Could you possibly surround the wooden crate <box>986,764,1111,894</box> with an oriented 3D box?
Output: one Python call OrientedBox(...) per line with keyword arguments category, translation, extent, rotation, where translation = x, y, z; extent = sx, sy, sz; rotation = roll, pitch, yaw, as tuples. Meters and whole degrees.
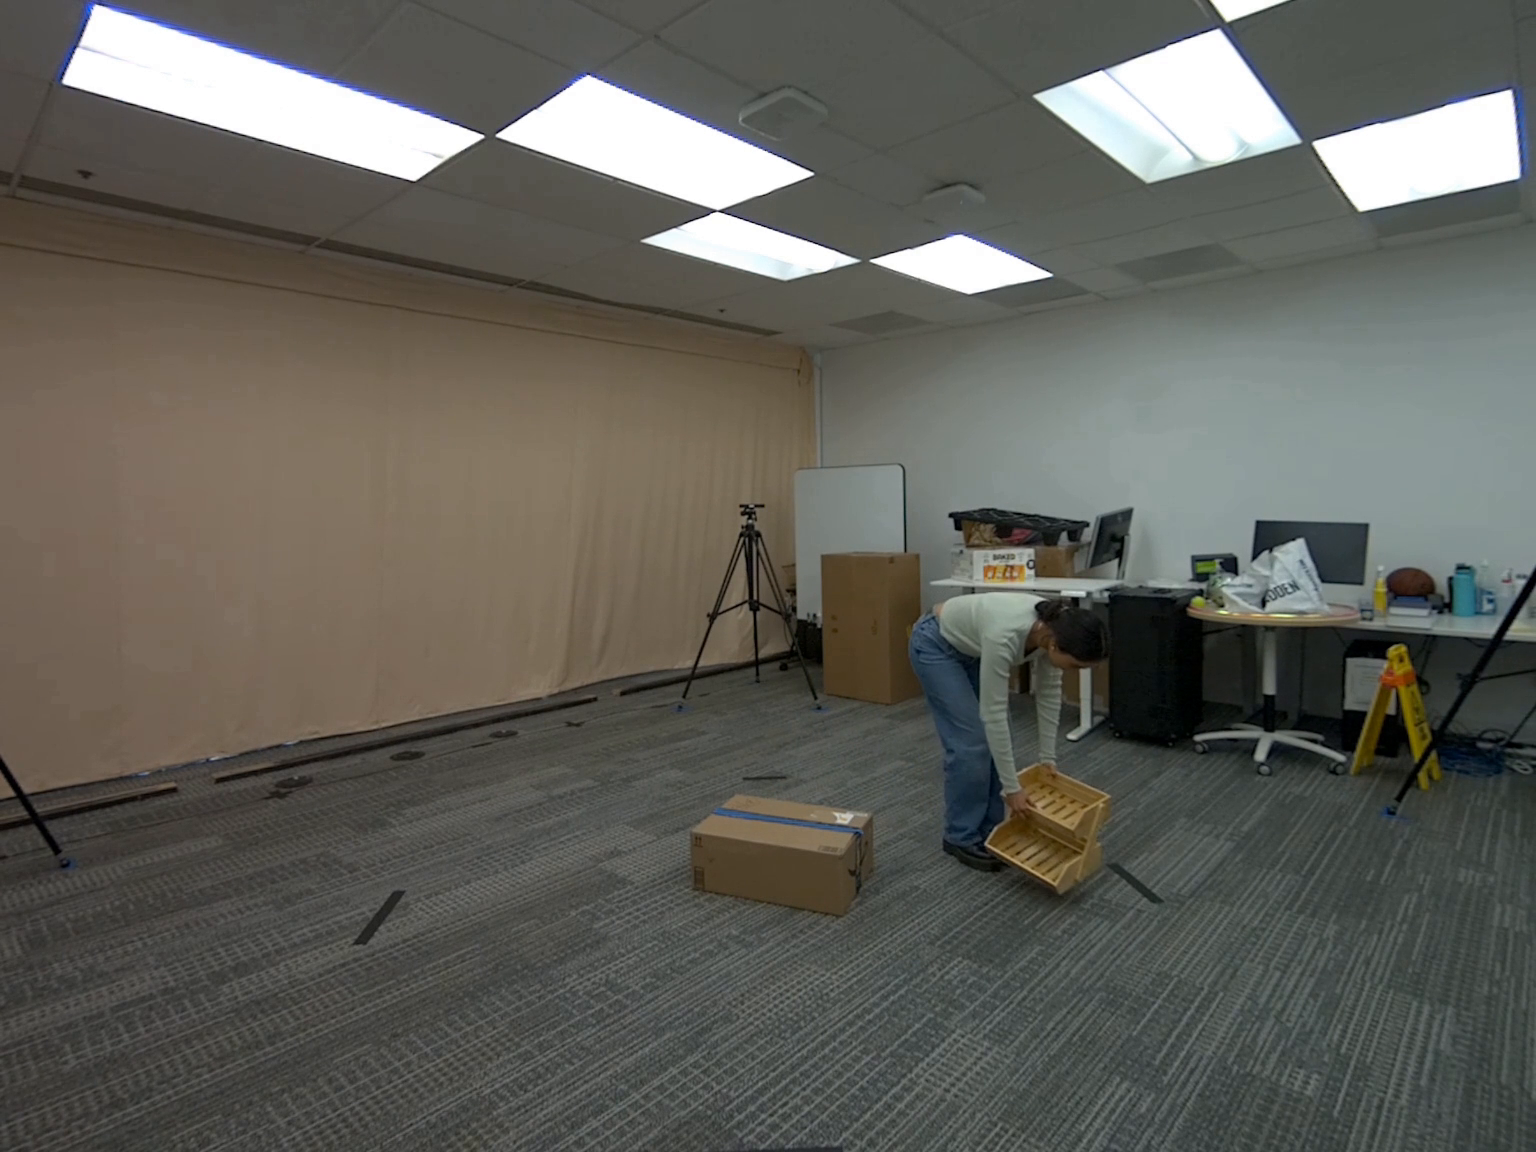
OrientedBox(category="wooden crate", translation=(0.982, 0.878, 2.989), extent=(0.295, 0.270, 0.336), rotation=(-15, 19, -33))
